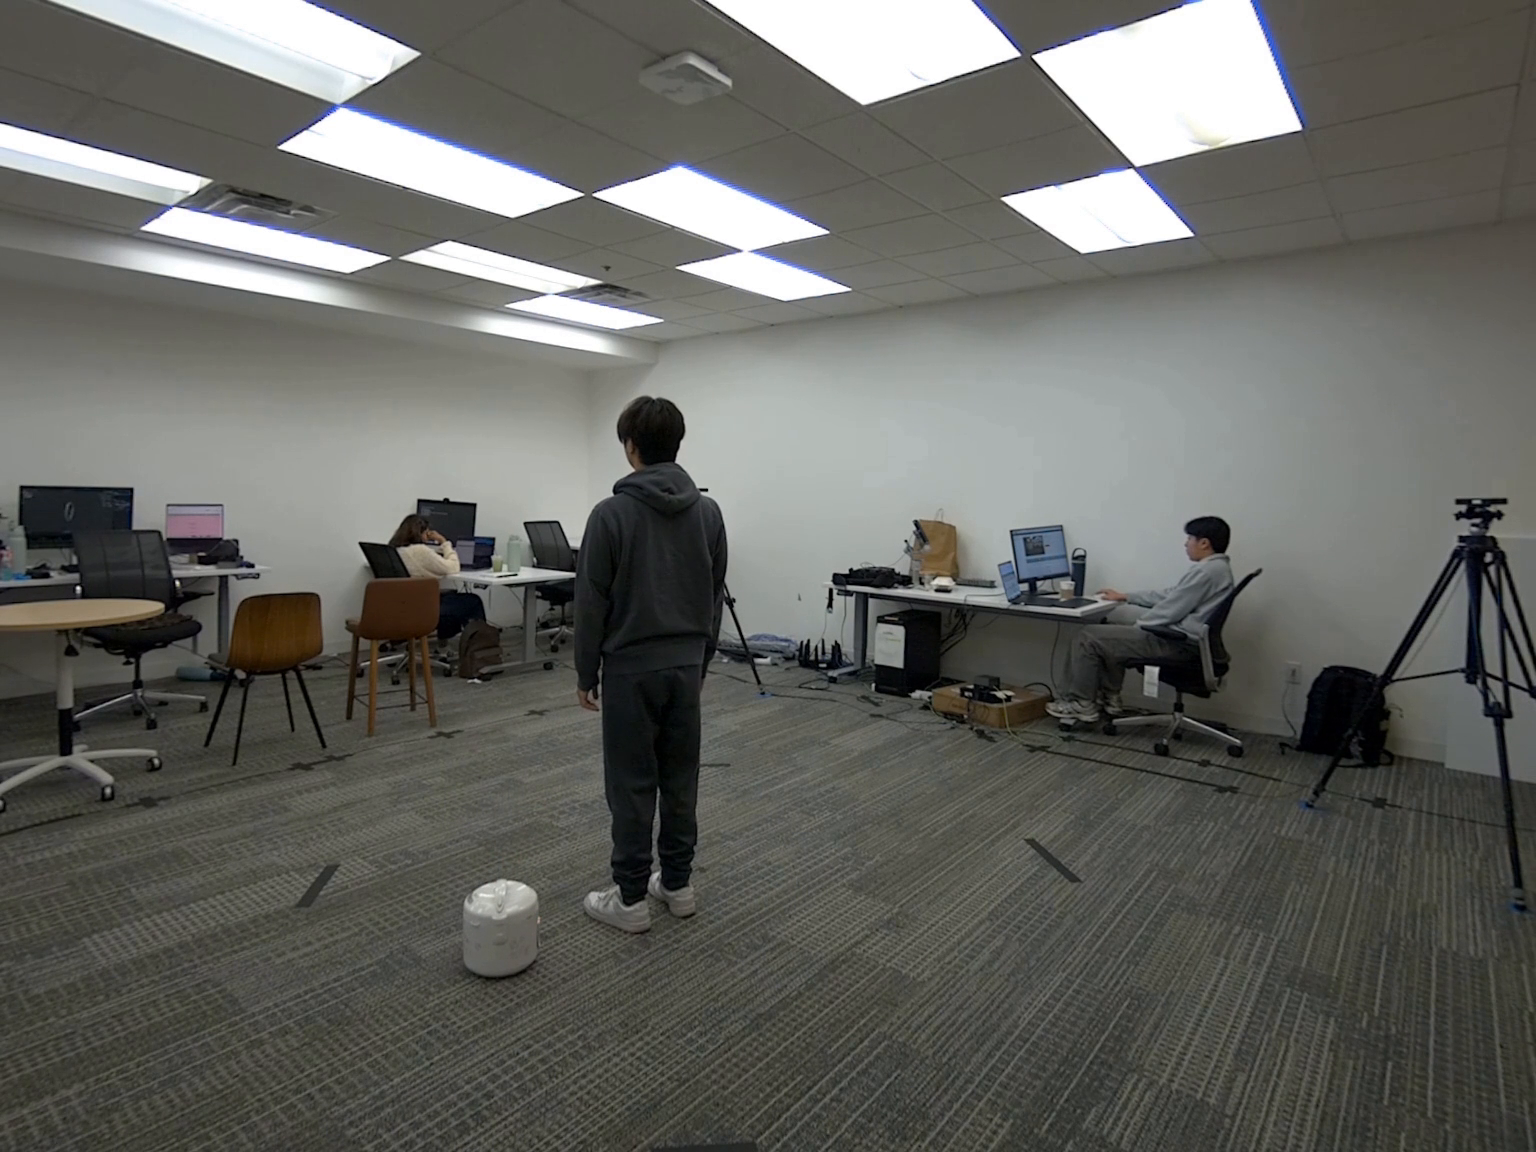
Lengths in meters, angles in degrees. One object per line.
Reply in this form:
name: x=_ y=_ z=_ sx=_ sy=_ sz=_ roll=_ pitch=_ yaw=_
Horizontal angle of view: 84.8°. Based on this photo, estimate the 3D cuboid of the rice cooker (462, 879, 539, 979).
rice cooker: x=-0.784 y=1.010 z=2.477 sx=0.215 sy=0.232 sz=0.224 roll=0 pitch=4 yaw=-13
